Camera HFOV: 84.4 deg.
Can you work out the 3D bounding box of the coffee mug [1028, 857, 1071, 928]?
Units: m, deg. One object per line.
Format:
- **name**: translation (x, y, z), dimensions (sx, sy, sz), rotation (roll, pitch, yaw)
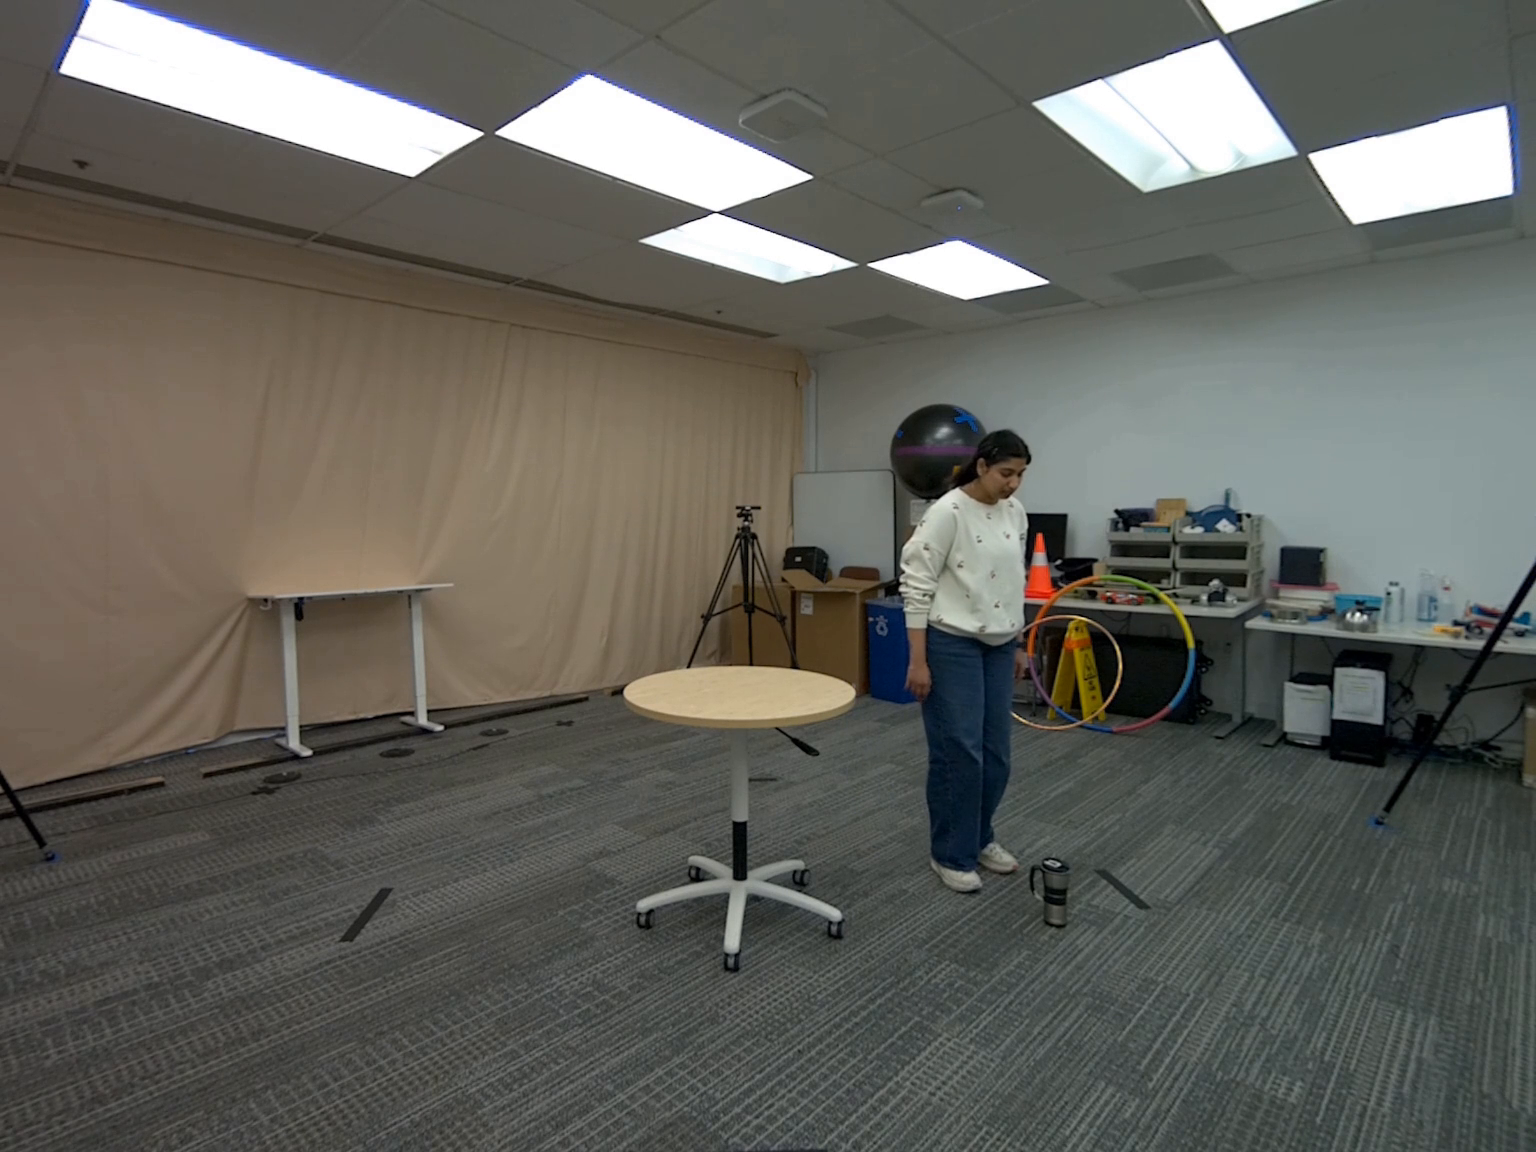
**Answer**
- **coffee mug**: translation (0.939, 1.053, 2.817), dimensions (0.126, 0.202, 0.085), rotation (5, 8, 39)
